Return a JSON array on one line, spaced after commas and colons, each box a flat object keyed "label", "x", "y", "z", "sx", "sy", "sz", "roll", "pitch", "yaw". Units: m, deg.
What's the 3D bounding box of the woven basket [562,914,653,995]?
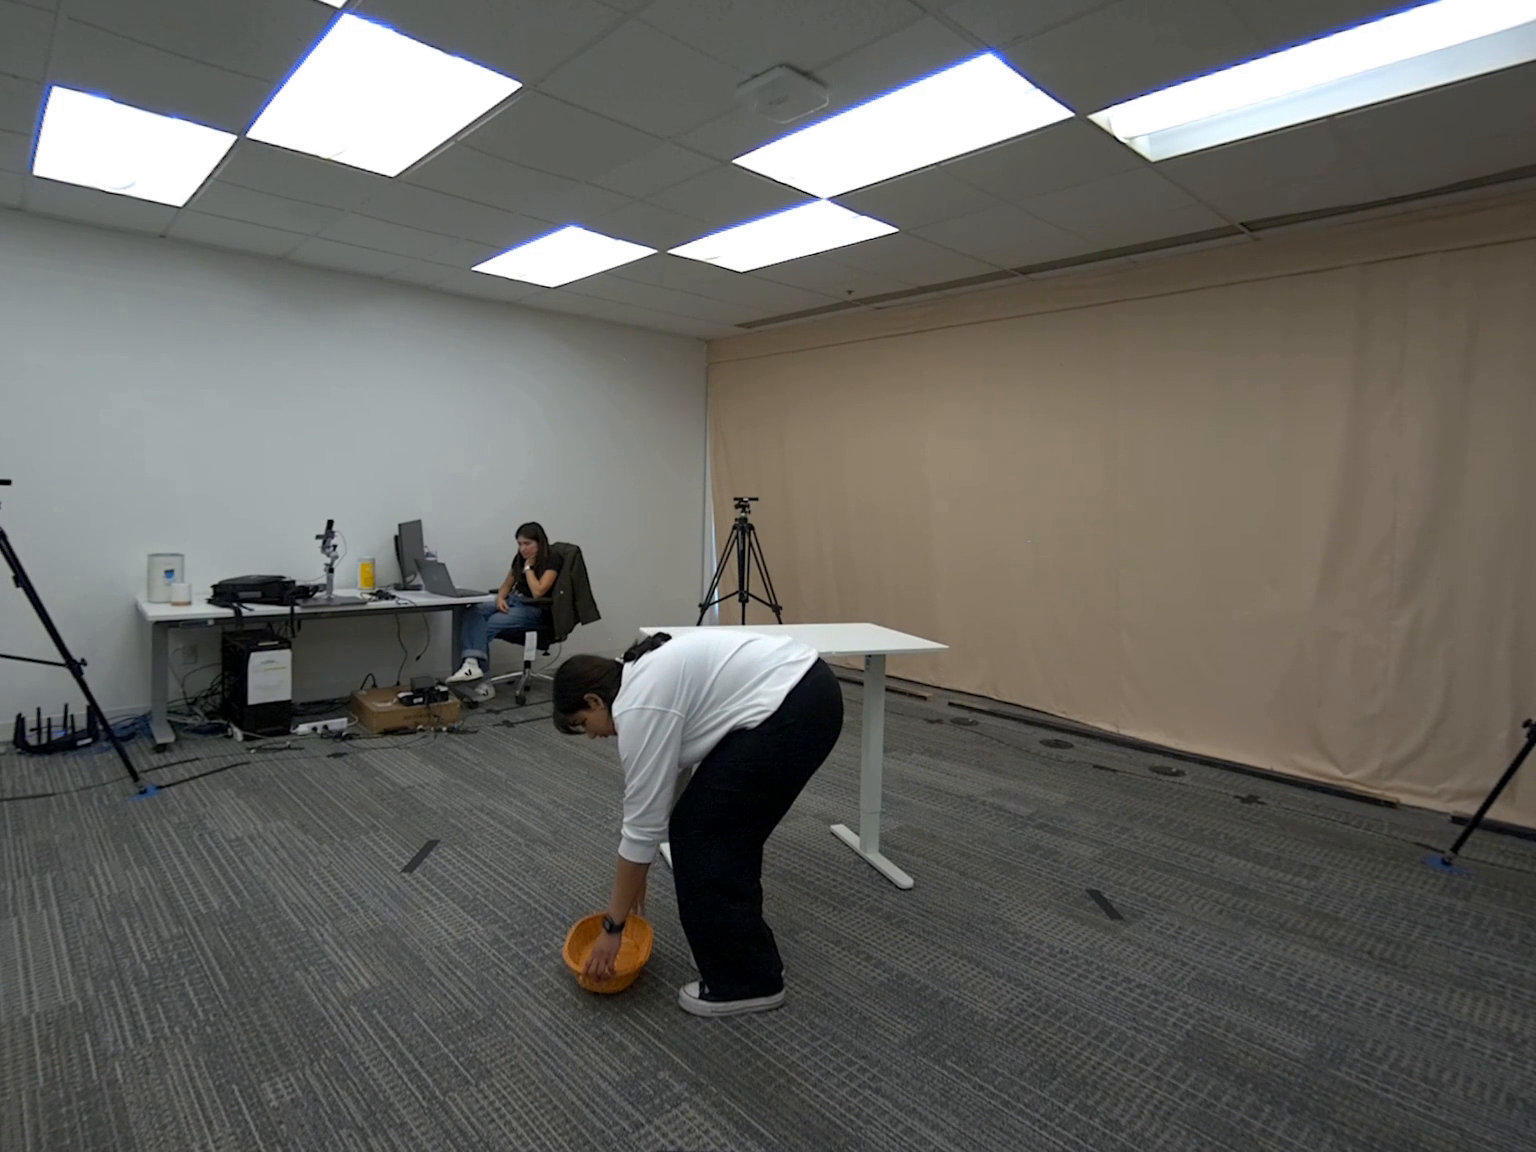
[{"label": "woven basket", "x": -0.463, "y": 1.085, "z": 2.434, "sx": 0.252, "sy": 0.073, "sz": 0.351, "roll": 3, "pitch": 5, "yaw": -1}]
